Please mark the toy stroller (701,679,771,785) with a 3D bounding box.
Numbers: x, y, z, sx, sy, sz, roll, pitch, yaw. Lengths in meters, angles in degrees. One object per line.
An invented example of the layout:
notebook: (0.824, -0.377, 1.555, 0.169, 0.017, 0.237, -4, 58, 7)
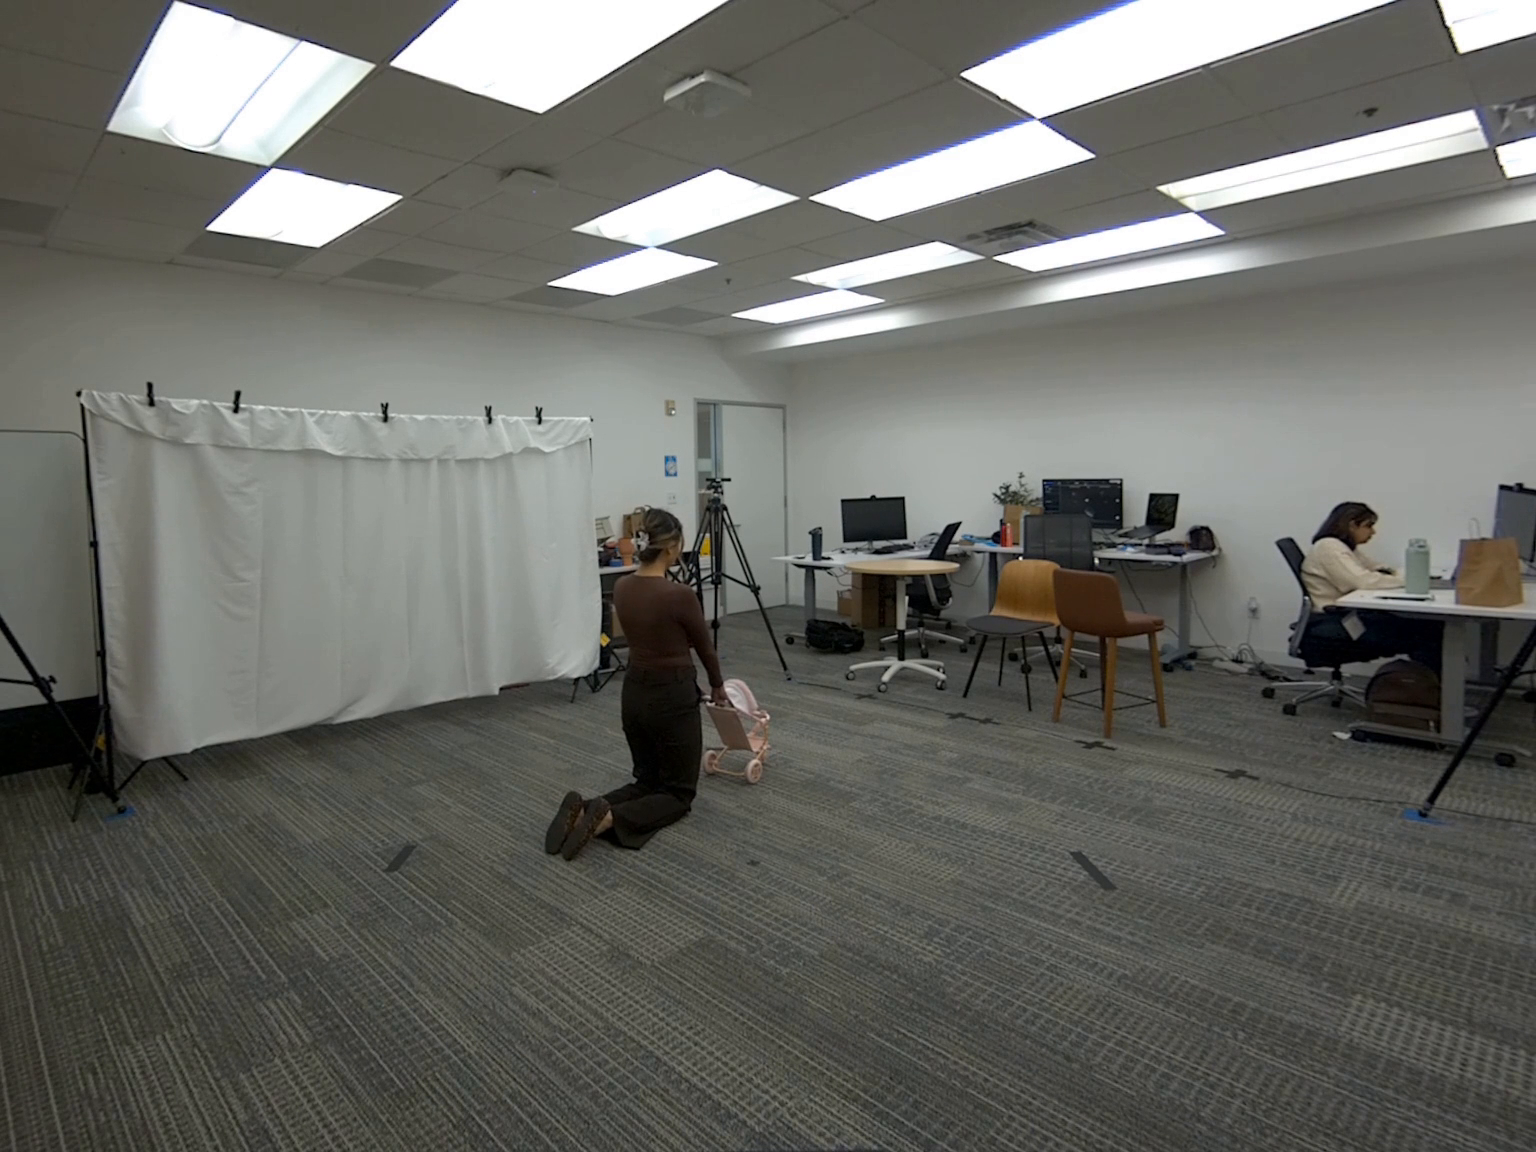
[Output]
toy stroller: (-0.137, 0.716, 4.028, 0.290, 0.525, 0.337, 4, 24, 39)
